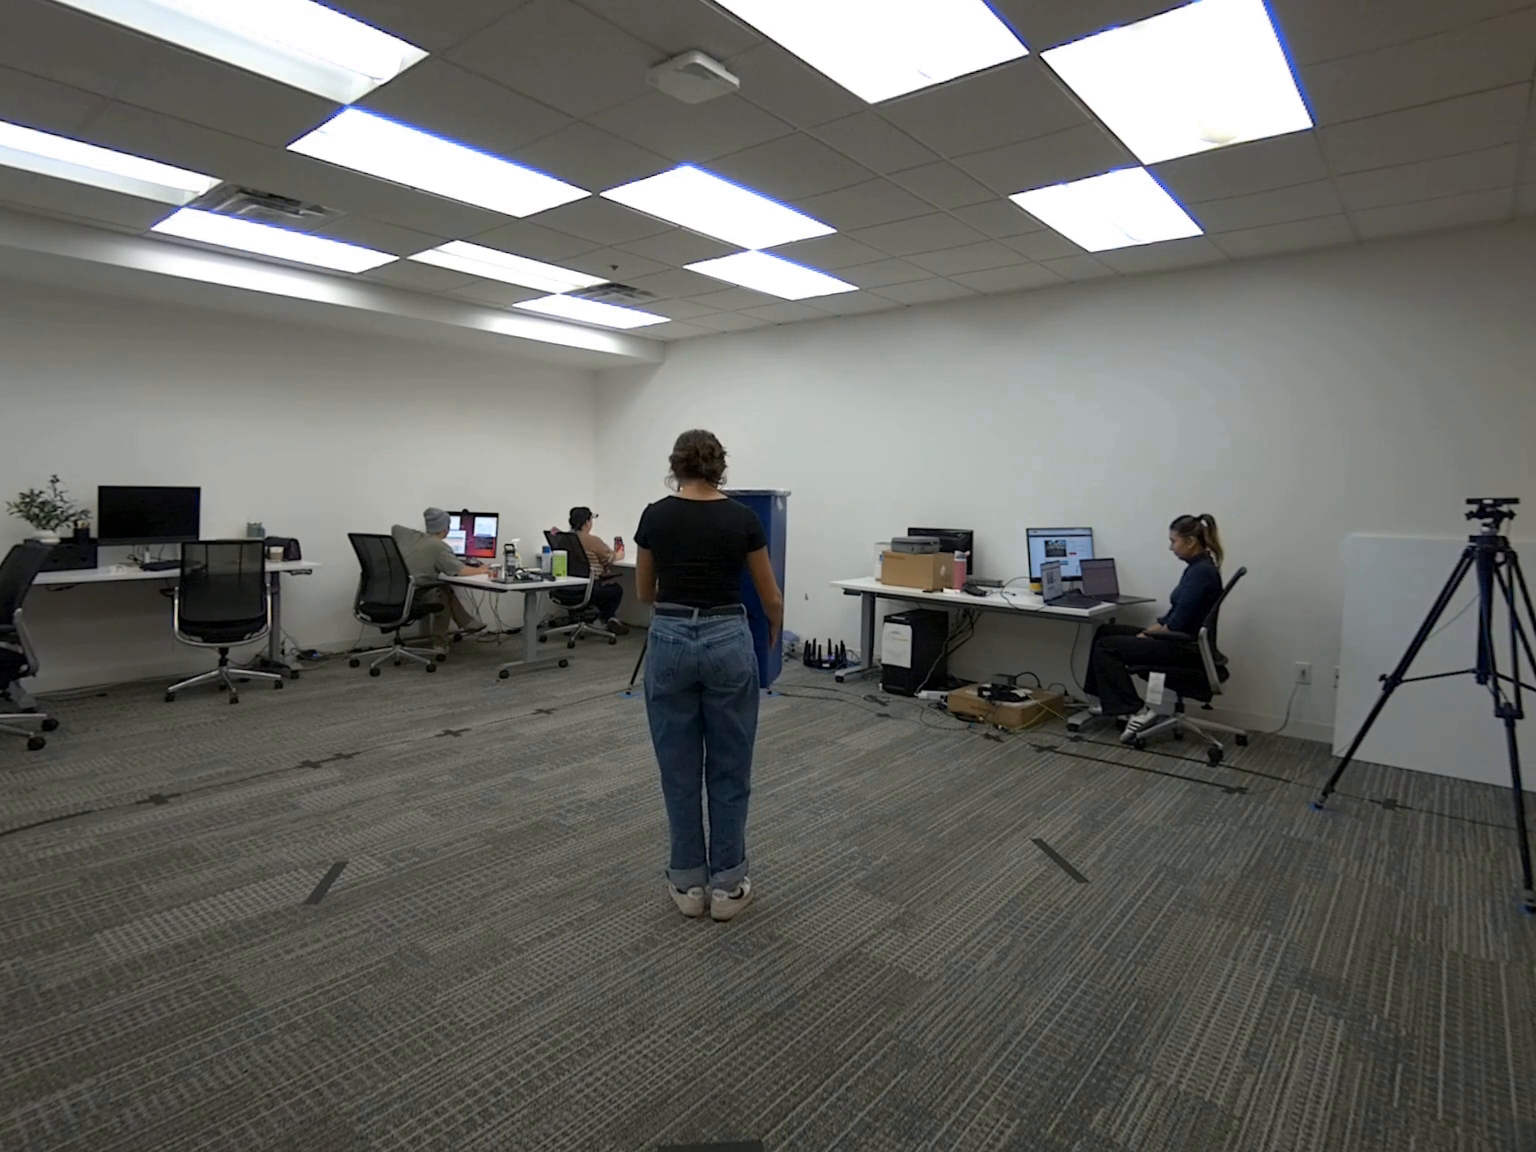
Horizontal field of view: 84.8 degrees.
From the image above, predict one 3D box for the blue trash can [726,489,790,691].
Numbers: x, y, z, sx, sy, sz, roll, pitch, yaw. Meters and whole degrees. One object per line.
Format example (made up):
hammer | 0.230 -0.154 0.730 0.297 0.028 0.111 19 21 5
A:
blue trash can | -0.135 0.026 3.203 0.380 0.712 0.373 2 2 13
